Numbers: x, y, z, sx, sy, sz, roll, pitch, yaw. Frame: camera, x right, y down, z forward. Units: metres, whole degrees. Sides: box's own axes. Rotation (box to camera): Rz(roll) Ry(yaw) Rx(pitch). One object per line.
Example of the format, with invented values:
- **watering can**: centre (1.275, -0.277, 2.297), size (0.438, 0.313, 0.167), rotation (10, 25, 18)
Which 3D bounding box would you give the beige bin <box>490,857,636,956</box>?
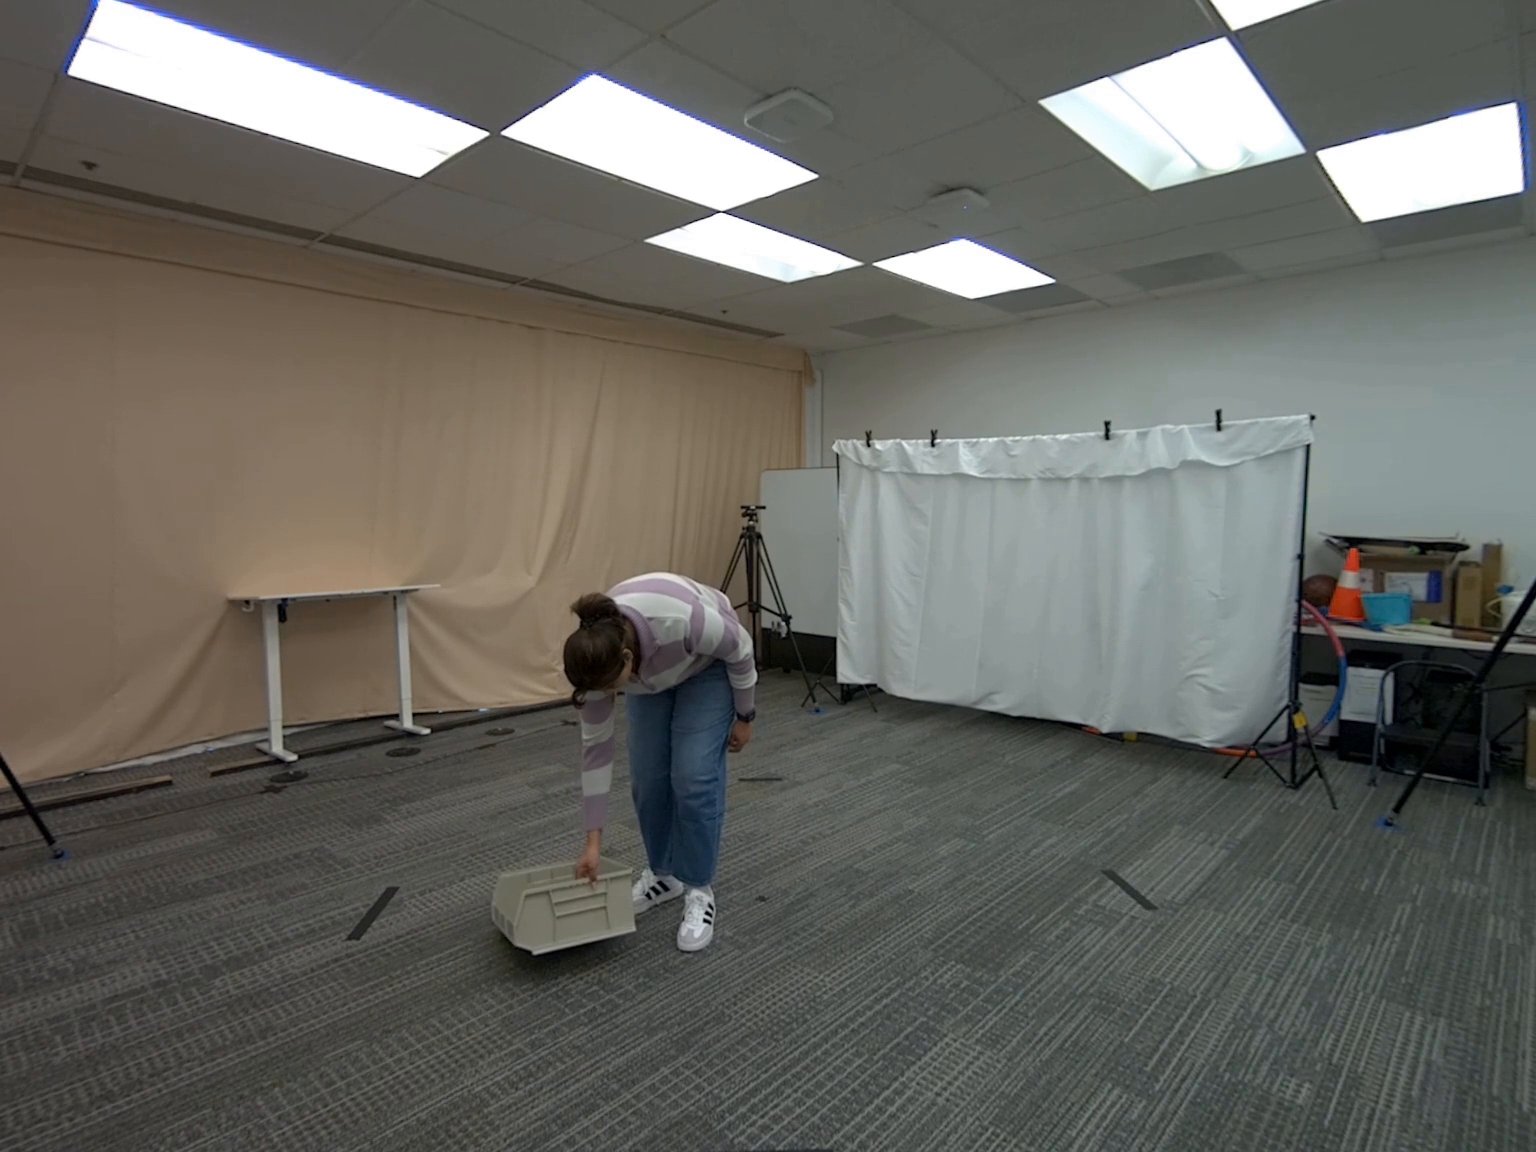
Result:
- **beige bin**: centre (-0.655, 1.033, 2.671), size (0.368, 0.190, 0.429), rotation (-1, -11, -25)
